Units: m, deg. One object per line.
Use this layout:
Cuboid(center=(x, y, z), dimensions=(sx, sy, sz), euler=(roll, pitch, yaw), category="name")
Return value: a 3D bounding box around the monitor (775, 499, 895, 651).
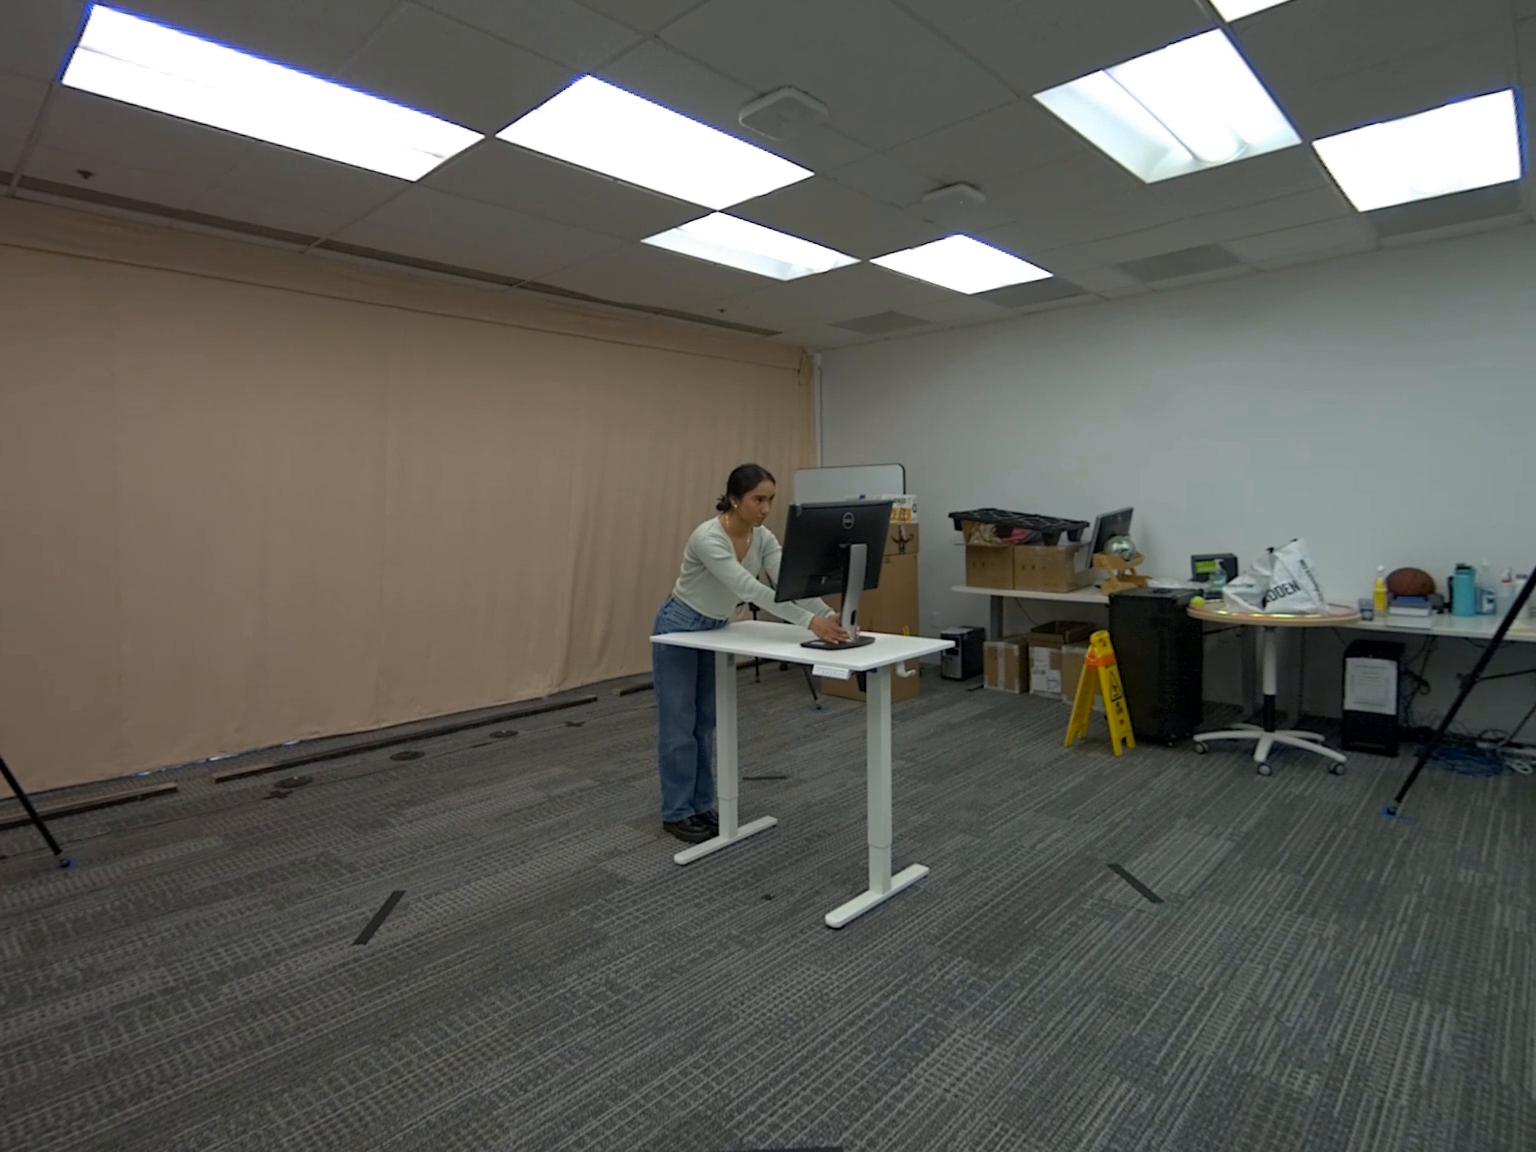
Cuboid(center=(0.272, -0.006, 3.014), dimensions=(0.523, 0.521, 0.193), euler=(-6, 7, -42), category="monitor")
